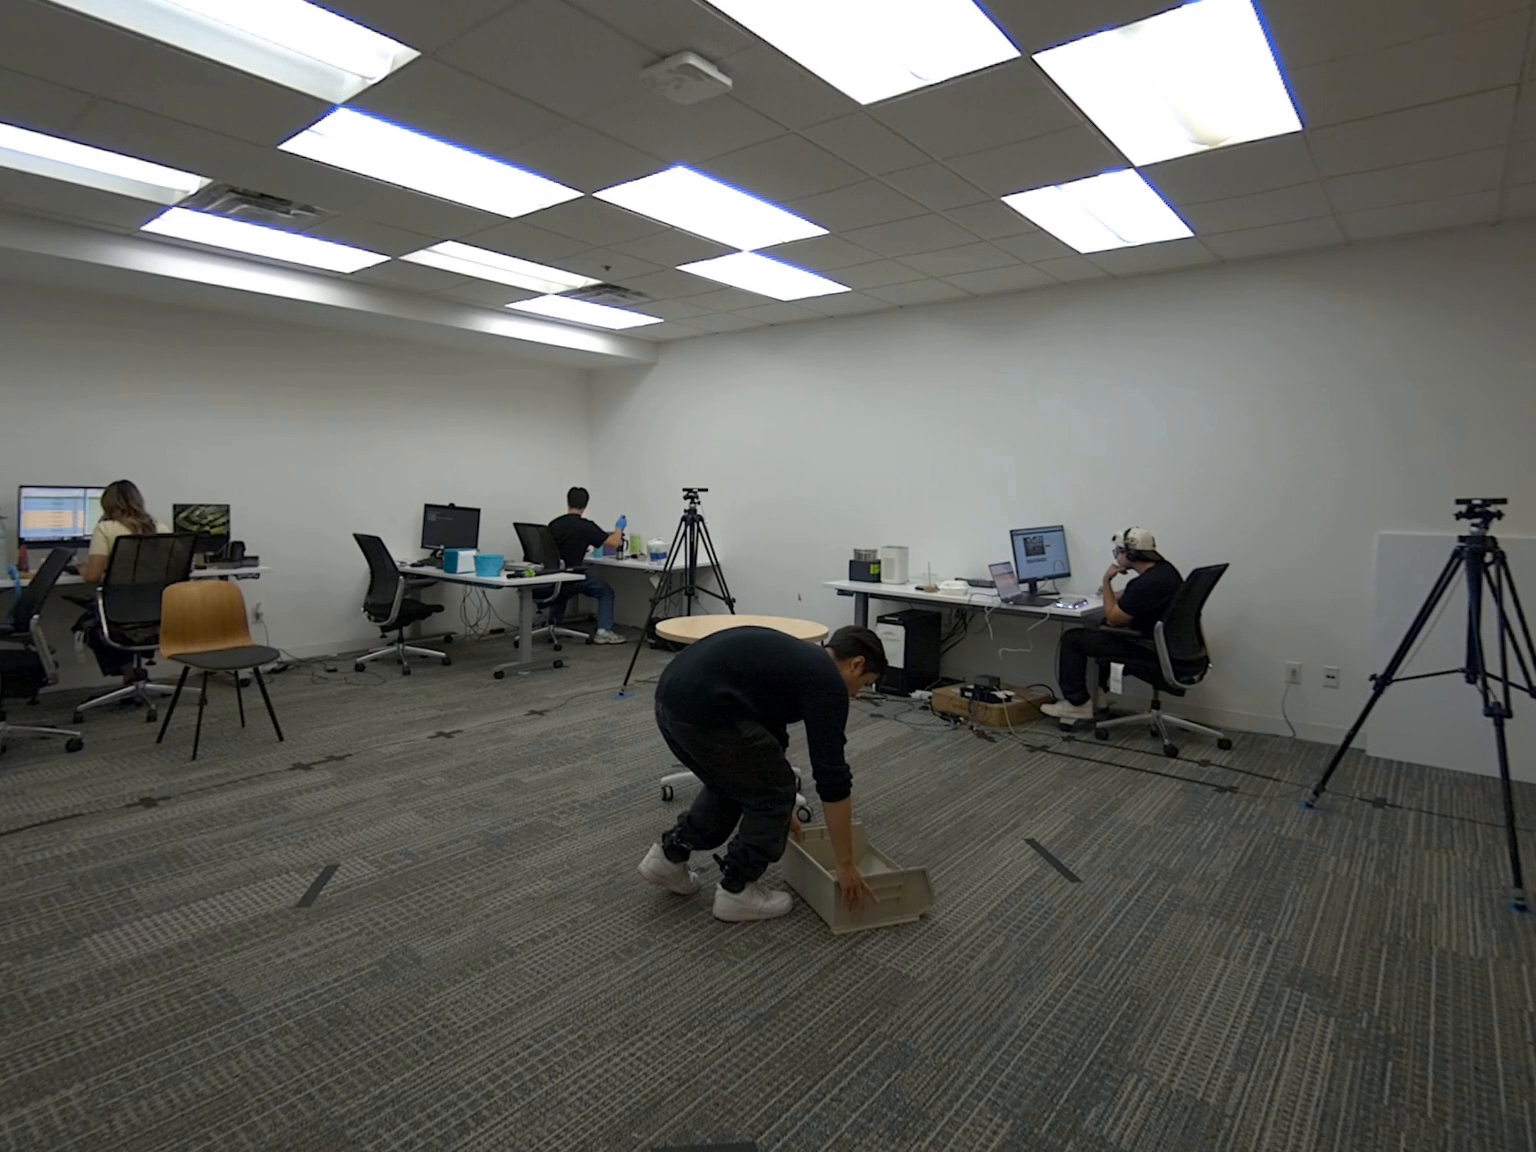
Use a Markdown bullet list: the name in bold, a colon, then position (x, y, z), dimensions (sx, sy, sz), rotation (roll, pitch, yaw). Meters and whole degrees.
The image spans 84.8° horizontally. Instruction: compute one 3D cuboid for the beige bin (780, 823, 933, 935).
- **beige bin**: position (0.285, 1.014, 2.909), dimensions (0.369, 0.188, 0.434), rotation (-1, 7, -22)
